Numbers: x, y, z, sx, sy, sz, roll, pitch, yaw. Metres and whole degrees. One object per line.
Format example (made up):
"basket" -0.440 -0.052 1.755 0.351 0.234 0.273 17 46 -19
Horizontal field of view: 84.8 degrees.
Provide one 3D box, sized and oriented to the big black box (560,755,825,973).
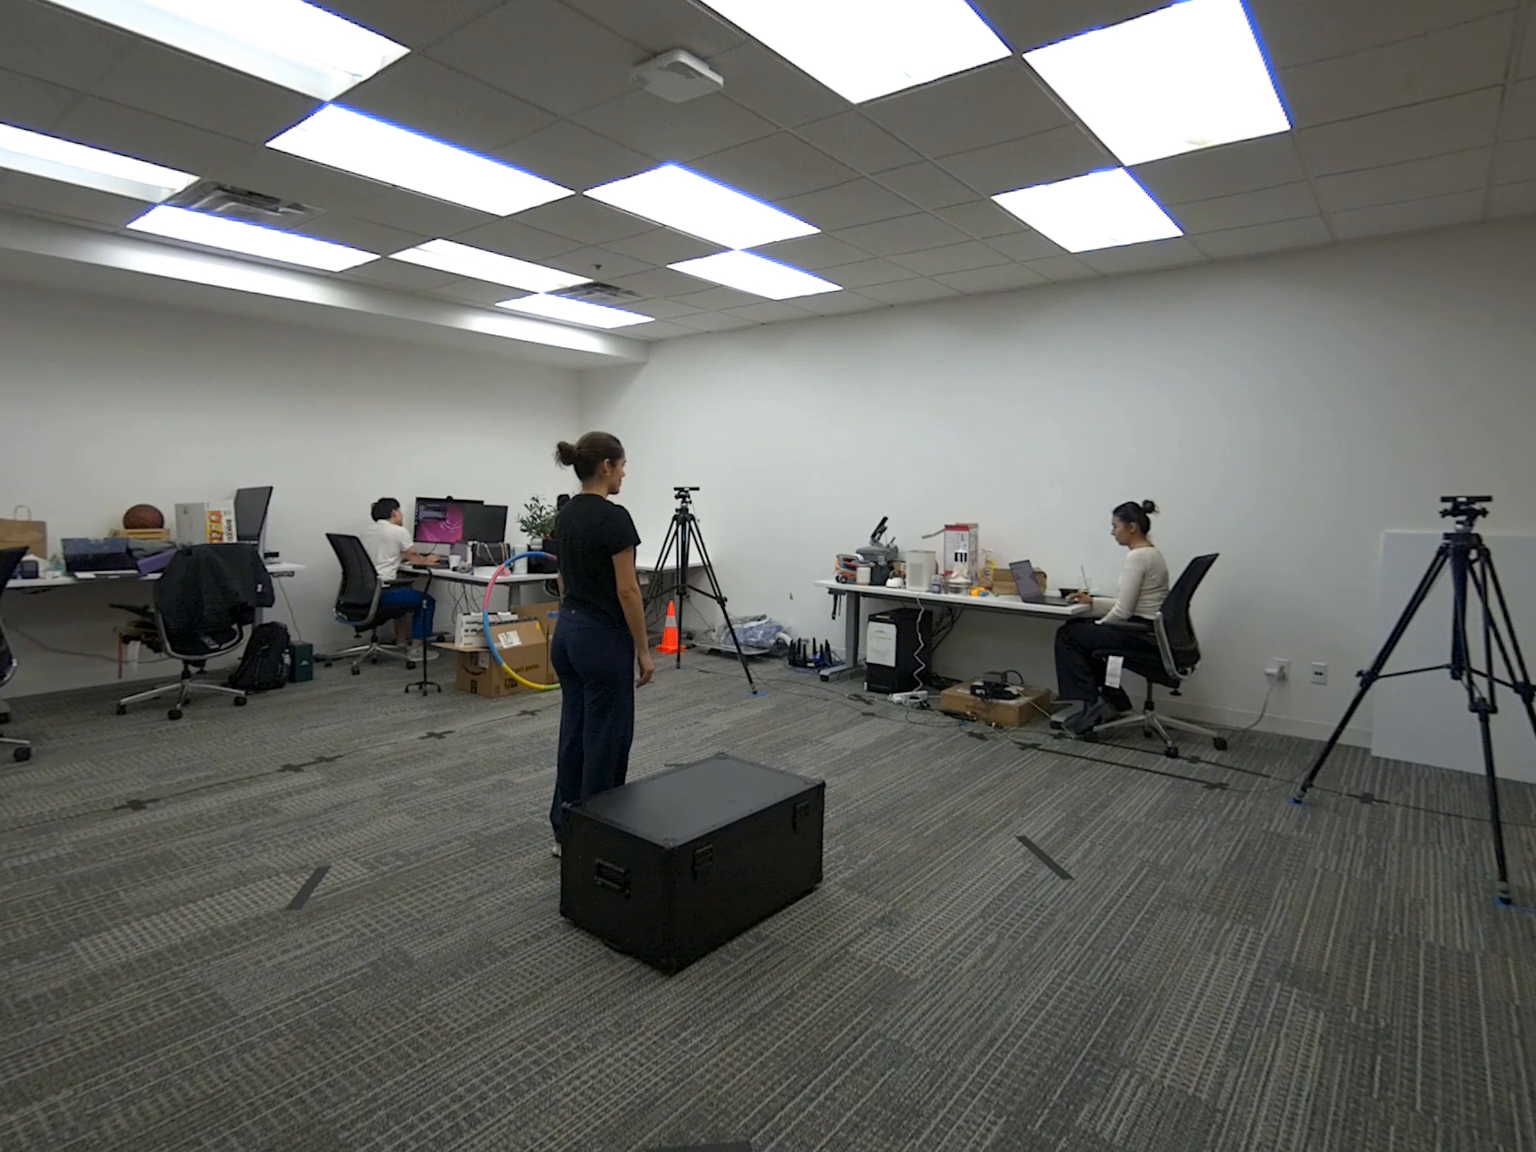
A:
"big black box" -0.197 0.901 2.861 0.539 0.395 0.837 4 7 39
